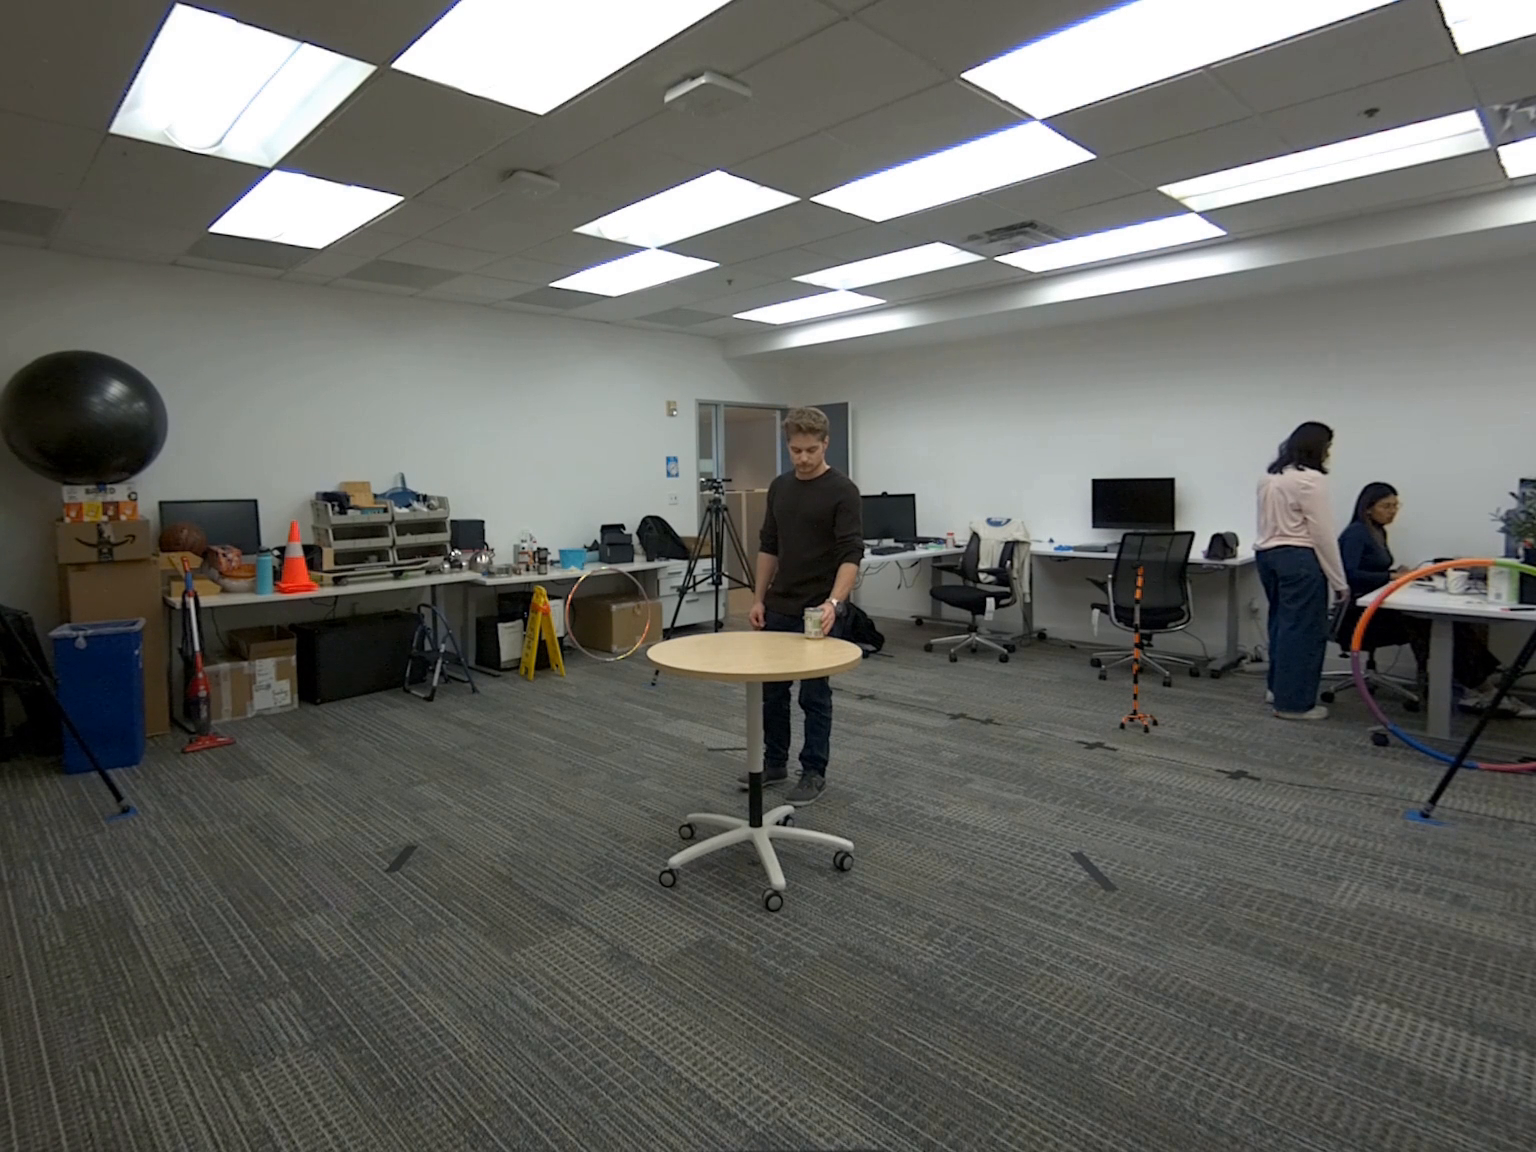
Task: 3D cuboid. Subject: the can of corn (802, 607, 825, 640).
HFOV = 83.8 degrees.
[{"bbox_3d":[0.182,0.185,3.279,0.074,0.111,0.074,0,4,-2],"label":"can of corn"}]
